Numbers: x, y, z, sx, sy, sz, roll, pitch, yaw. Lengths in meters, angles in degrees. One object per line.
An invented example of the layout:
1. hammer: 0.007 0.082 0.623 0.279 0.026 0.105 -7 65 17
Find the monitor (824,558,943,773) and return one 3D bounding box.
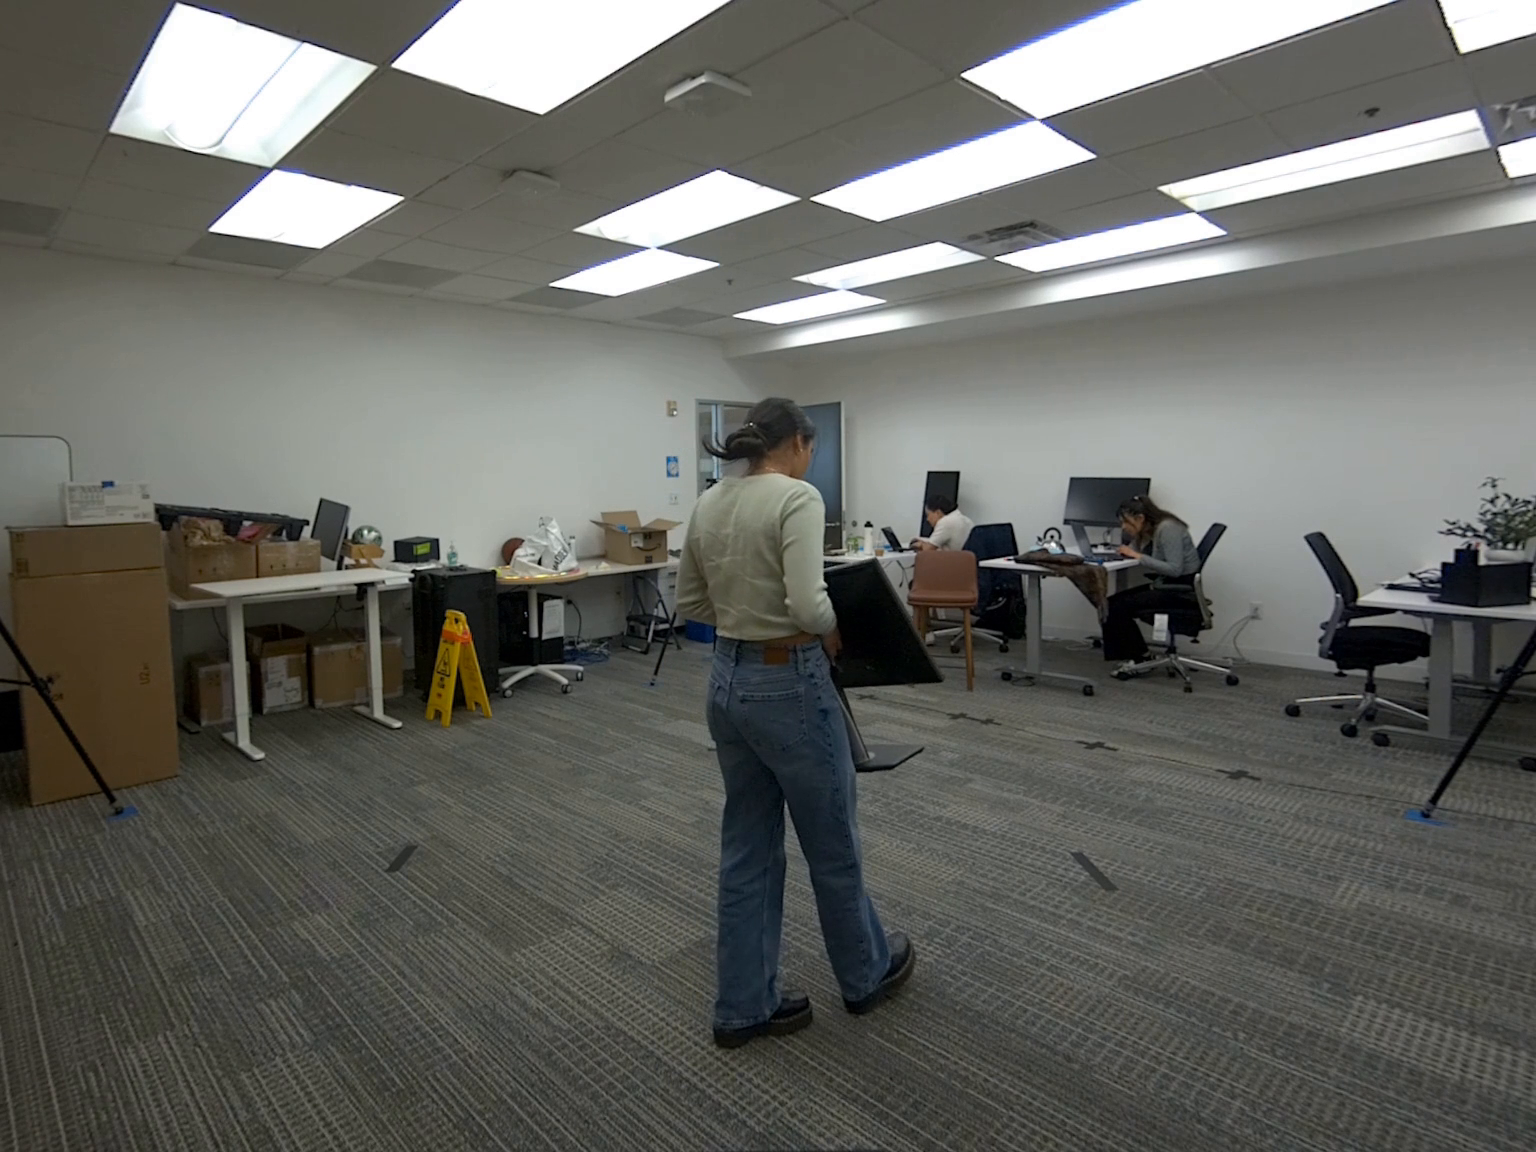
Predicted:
1. monitor: 0.192 0.233 2.233 0.171 0.517 0.540 -13 -2 -39
